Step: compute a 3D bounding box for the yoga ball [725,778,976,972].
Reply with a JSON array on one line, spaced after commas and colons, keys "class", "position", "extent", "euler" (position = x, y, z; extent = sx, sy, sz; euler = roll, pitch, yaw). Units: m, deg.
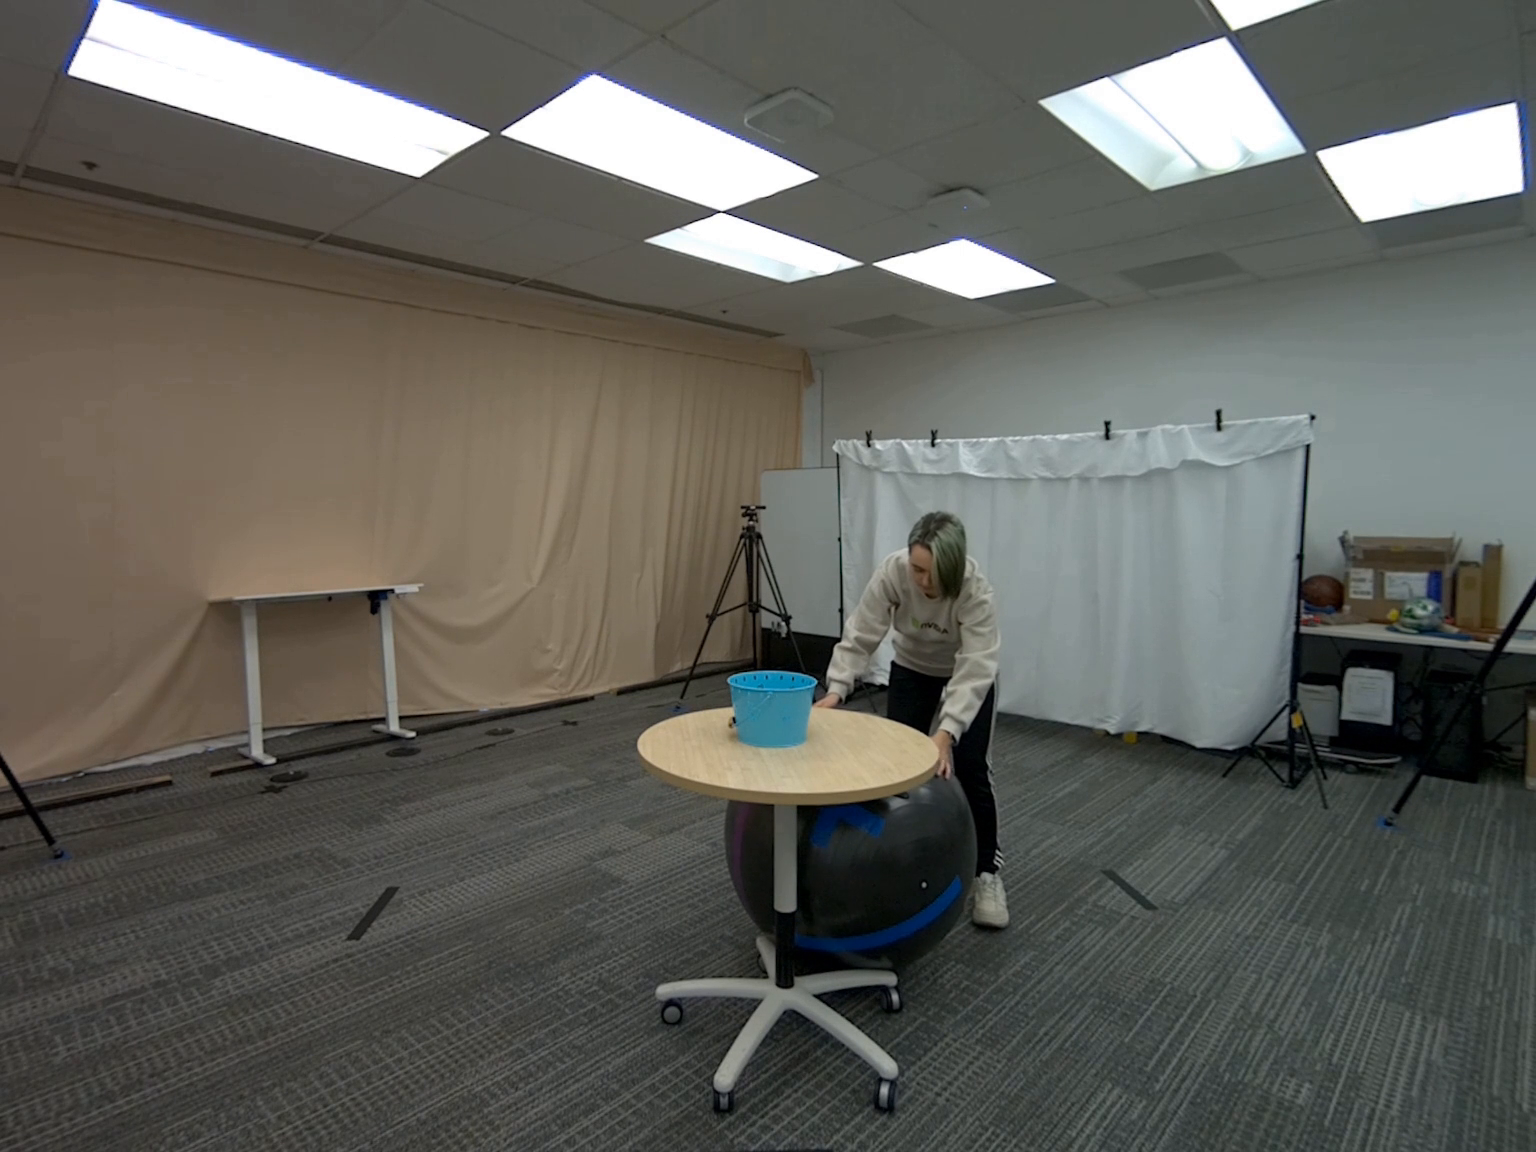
[{"class": "yoga ball", "position": [0.250, 0.802, 2.580], "extent": [0.757, 0.756, 0.761], "euler": [0, 4, -2]}]
